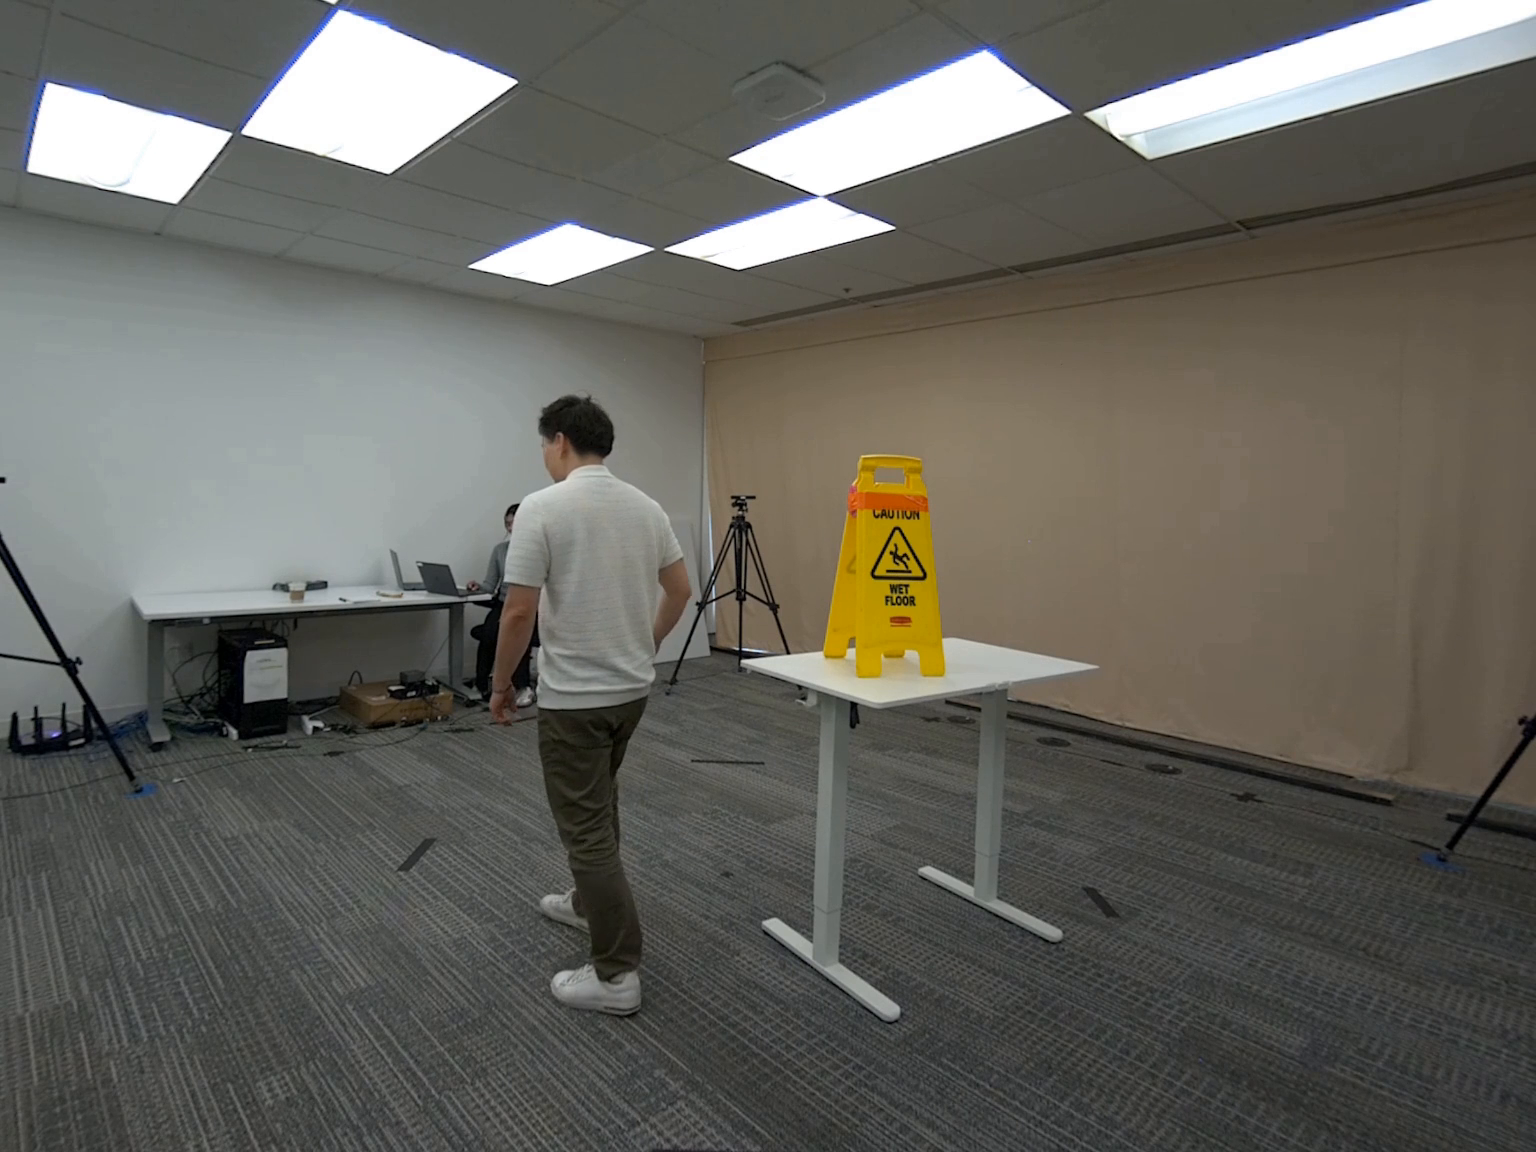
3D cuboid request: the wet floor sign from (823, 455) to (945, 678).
[{"bbox_3d":[0.357,-0.040,2.570,0.279,0.645,0.293,2,2,-14],"label":"wet floor sign"}]
